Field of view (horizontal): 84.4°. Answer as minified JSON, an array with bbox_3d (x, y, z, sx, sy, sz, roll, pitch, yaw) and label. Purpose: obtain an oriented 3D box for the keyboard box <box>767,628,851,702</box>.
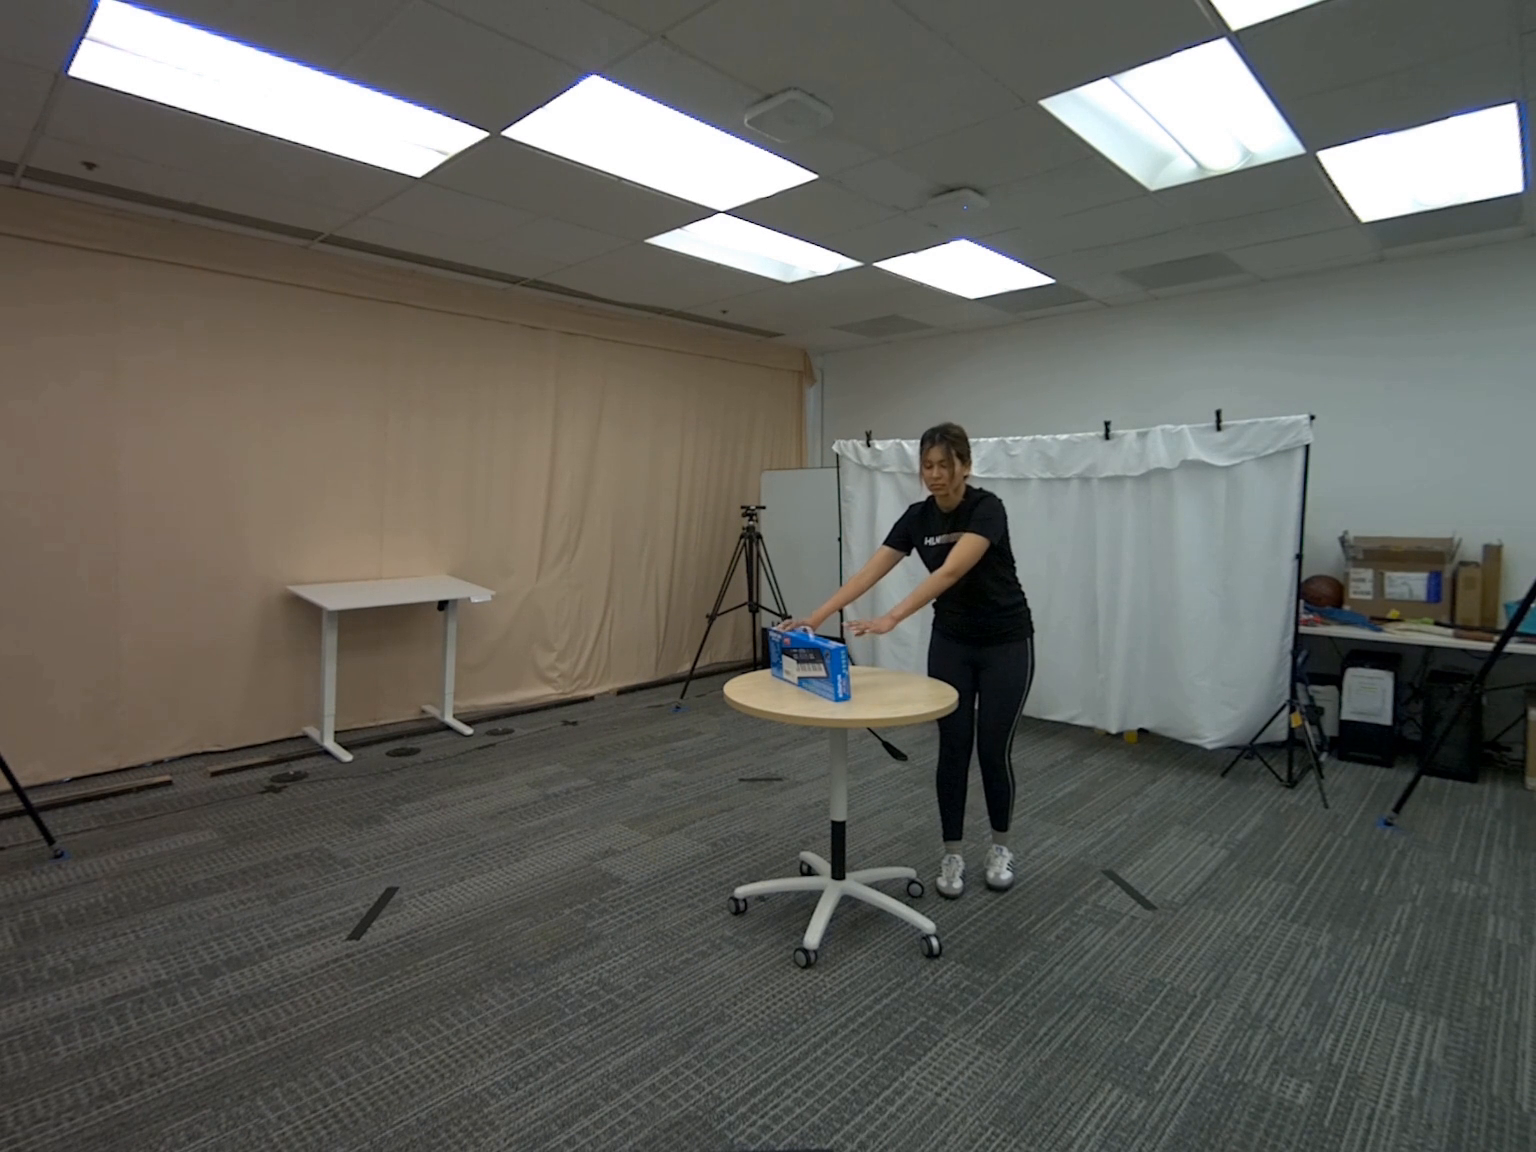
[{"bbox_3d":[0.134,0.288,2.812,0.058,0.175,0.448,-7,8,-25],"label":"keyboard box"}]
